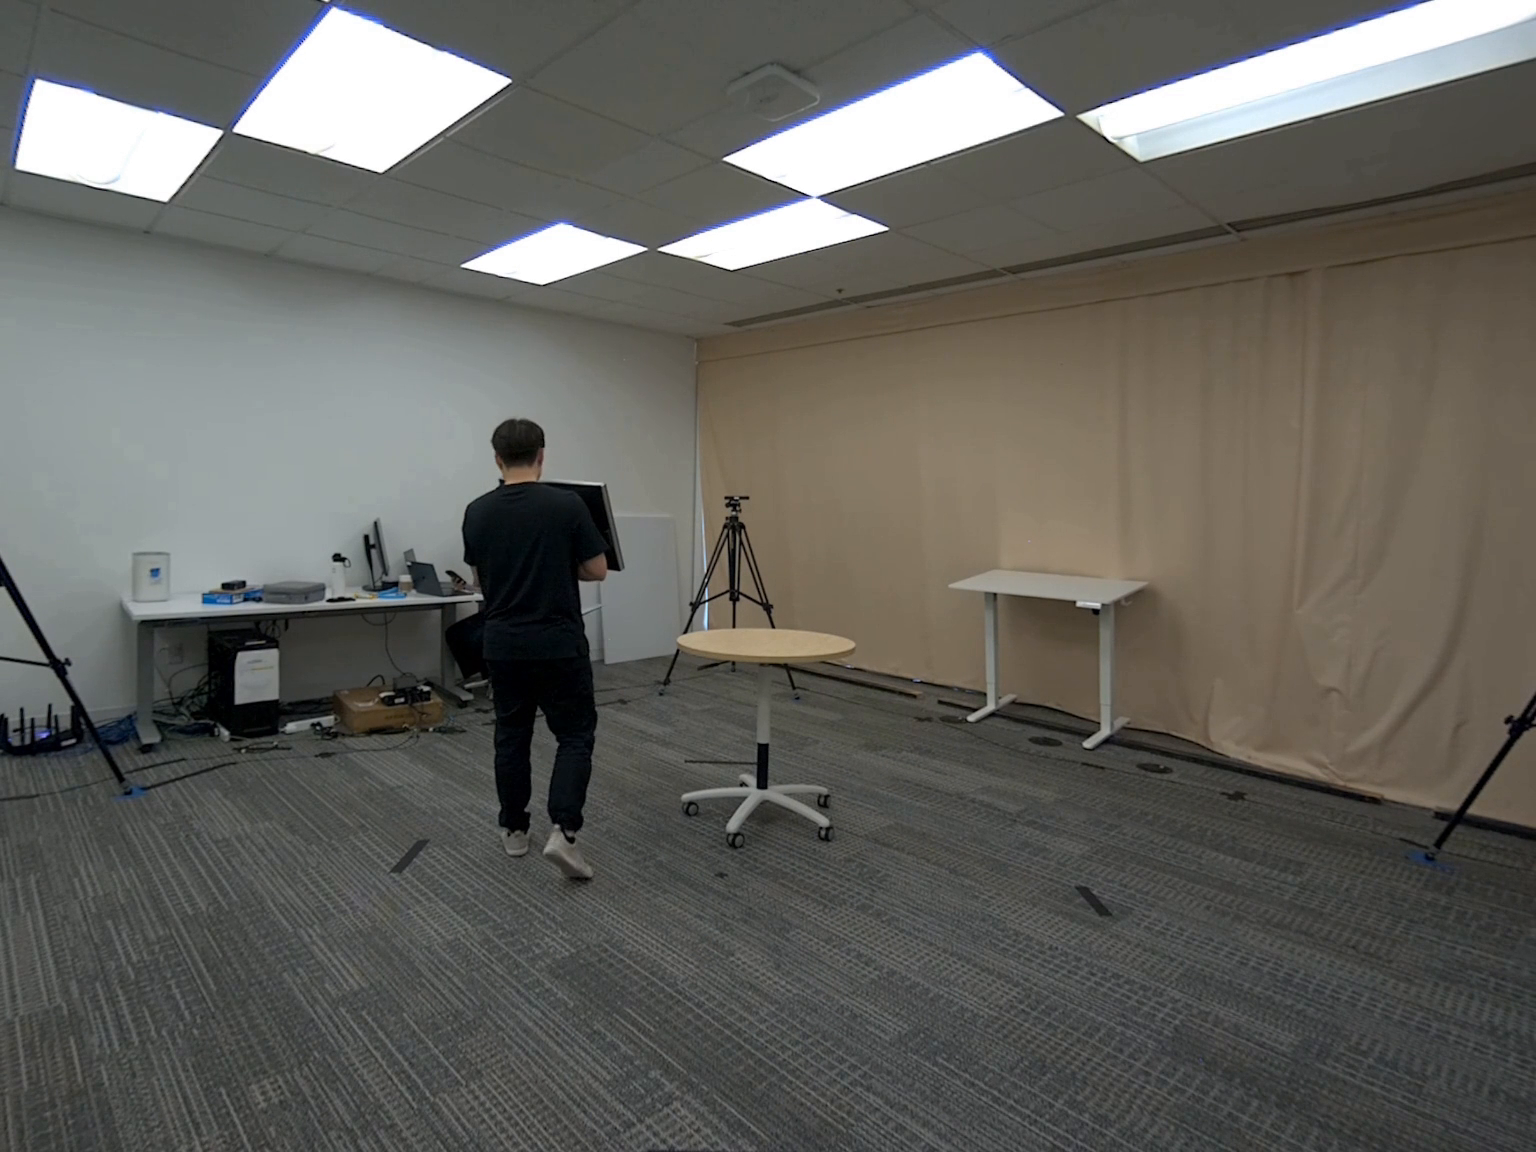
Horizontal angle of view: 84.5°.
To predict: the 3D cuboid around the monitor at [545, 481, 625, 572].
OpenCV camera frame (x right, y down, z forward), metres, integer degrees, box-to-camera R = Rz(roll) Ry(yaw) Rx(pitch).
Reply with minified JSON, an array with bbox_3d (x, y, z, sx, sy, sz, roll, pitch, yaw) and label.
[{"bbox_3d":[-0.835,-0.116,3.354,0.551,0.517,0.185,7,16,31],"label":"monitor"}]
